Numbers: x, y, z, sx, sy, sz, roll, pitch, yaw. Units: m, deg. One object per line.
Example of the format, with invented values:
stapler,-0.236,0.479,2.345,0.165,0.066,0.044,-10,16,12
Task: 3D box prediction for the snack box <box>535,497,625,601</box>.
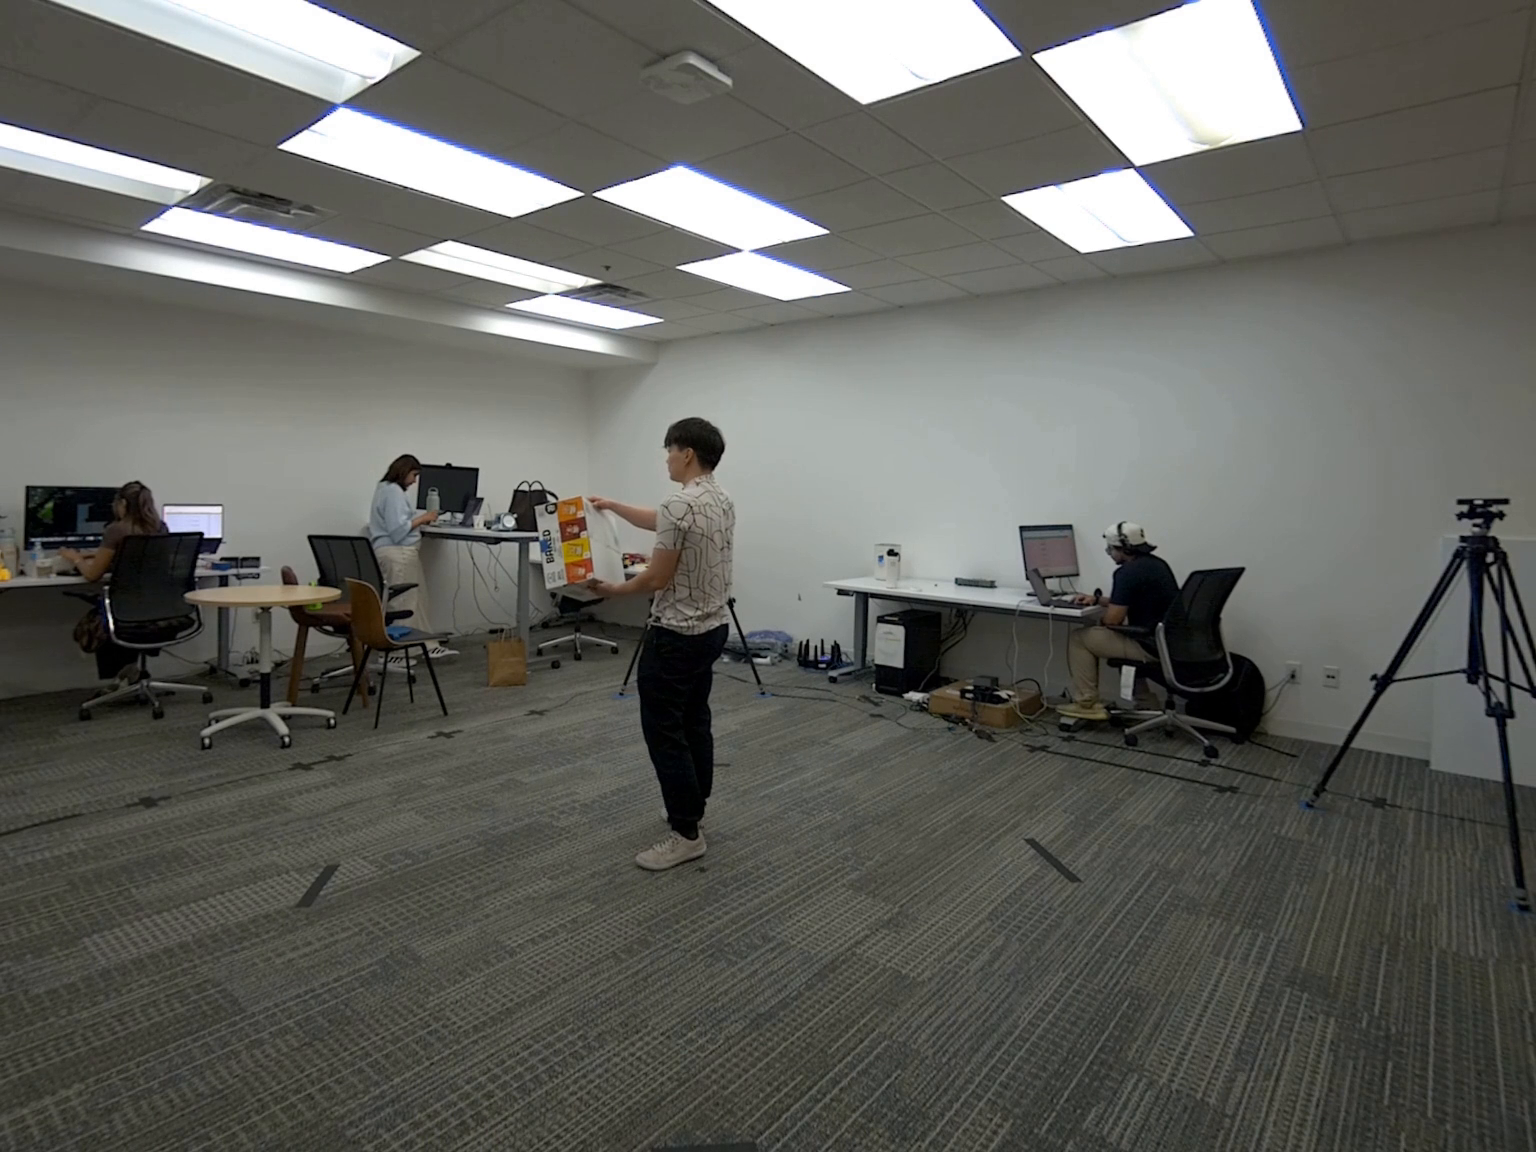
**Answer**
snack box,-0.785,-0.107,3.528,0.207,0.345,0.396,-13,-12,7
